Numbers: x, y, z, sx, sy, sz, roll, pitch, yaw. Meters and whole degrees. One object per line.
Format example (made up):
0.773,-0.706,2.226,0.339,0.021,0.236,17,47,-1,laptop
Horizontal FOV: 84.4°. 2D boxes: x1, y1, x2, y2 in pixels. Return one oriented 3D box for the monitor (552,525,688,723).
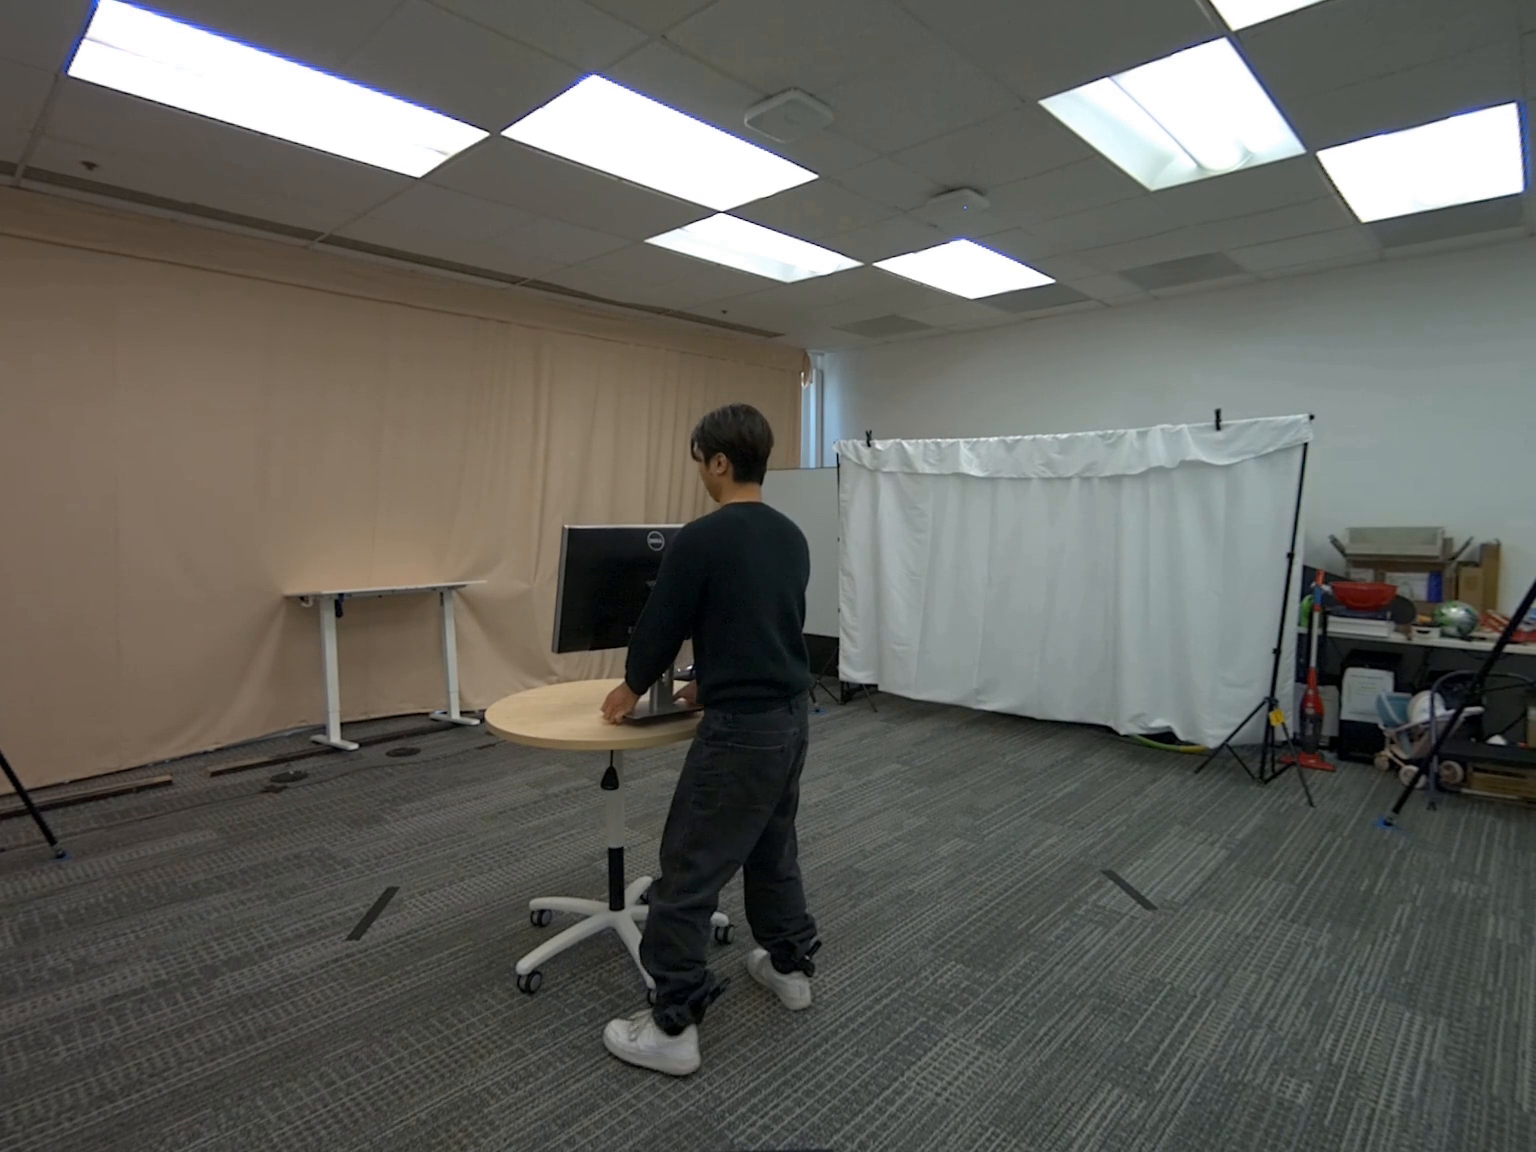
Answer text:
-0.342,0.125,2.438,0.522,0.522,0.193,-2,1,-41,monitor
